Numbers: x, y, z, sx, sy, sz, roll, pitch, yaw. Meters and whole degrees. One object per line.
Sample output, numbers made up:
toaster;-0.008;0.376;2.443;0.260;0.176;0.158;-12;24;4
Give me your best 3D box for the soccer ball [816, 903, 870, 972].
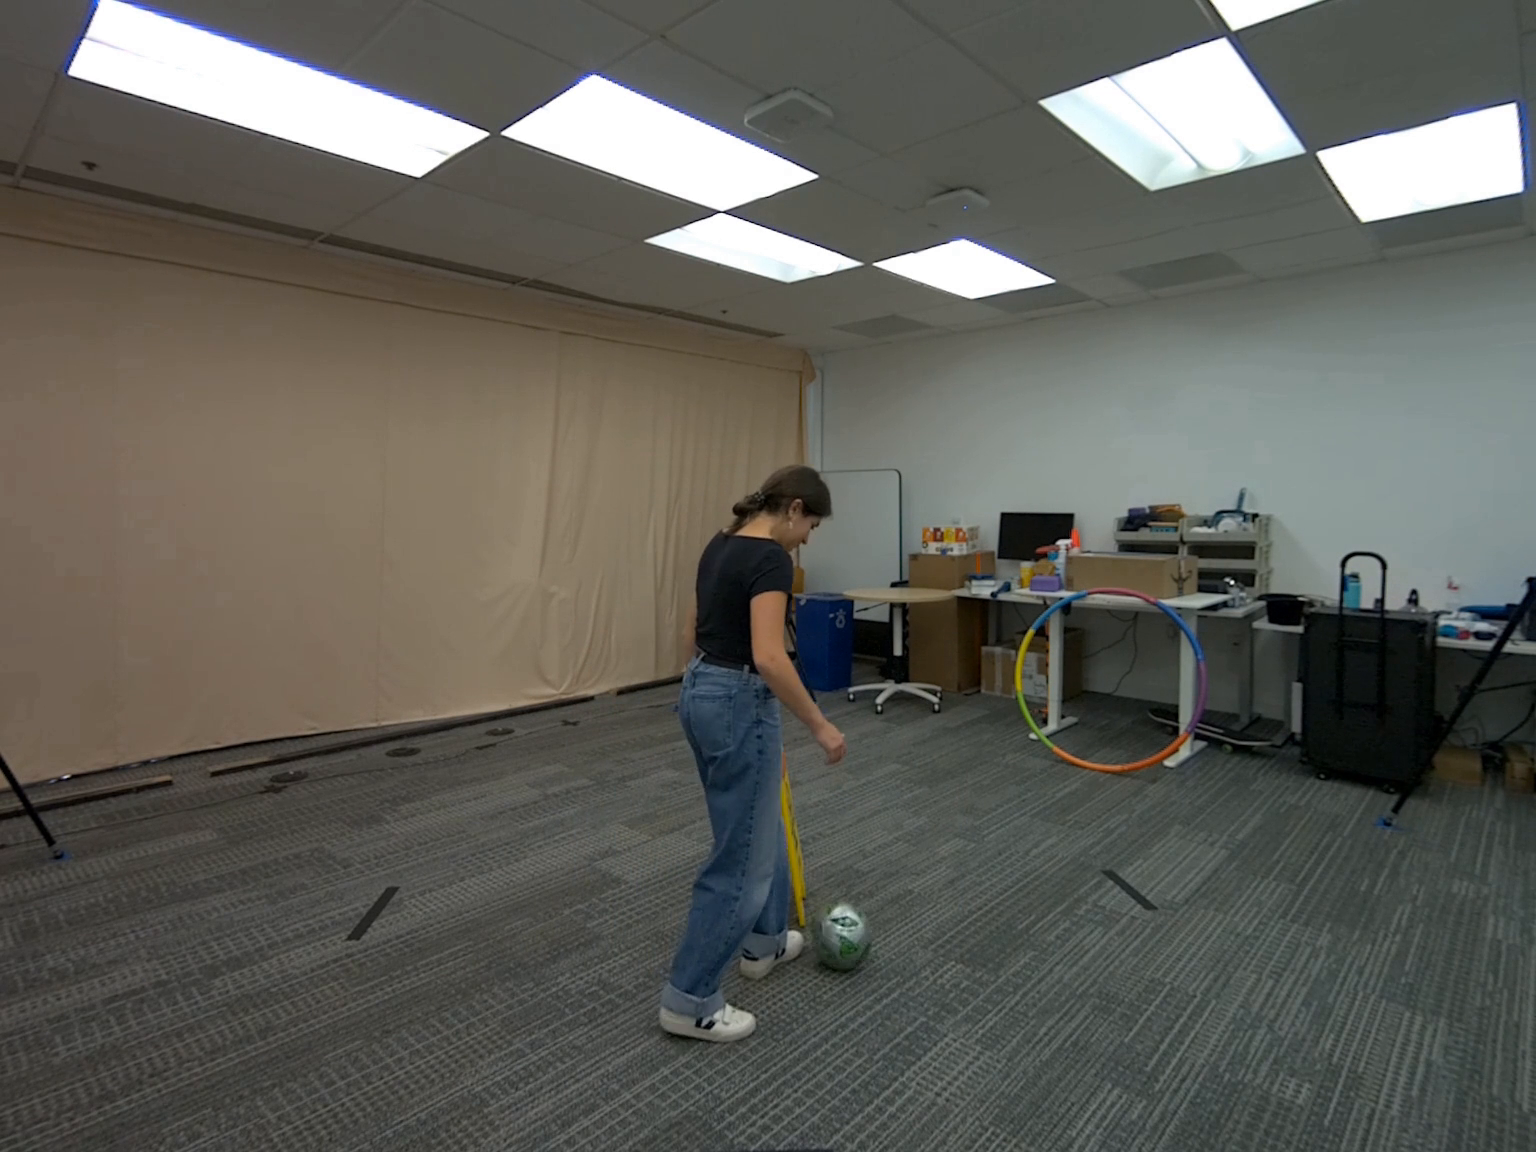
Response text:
soccer ball;0.223;1.092;2.533;0.187;0.187;0.188;0;4;-2
